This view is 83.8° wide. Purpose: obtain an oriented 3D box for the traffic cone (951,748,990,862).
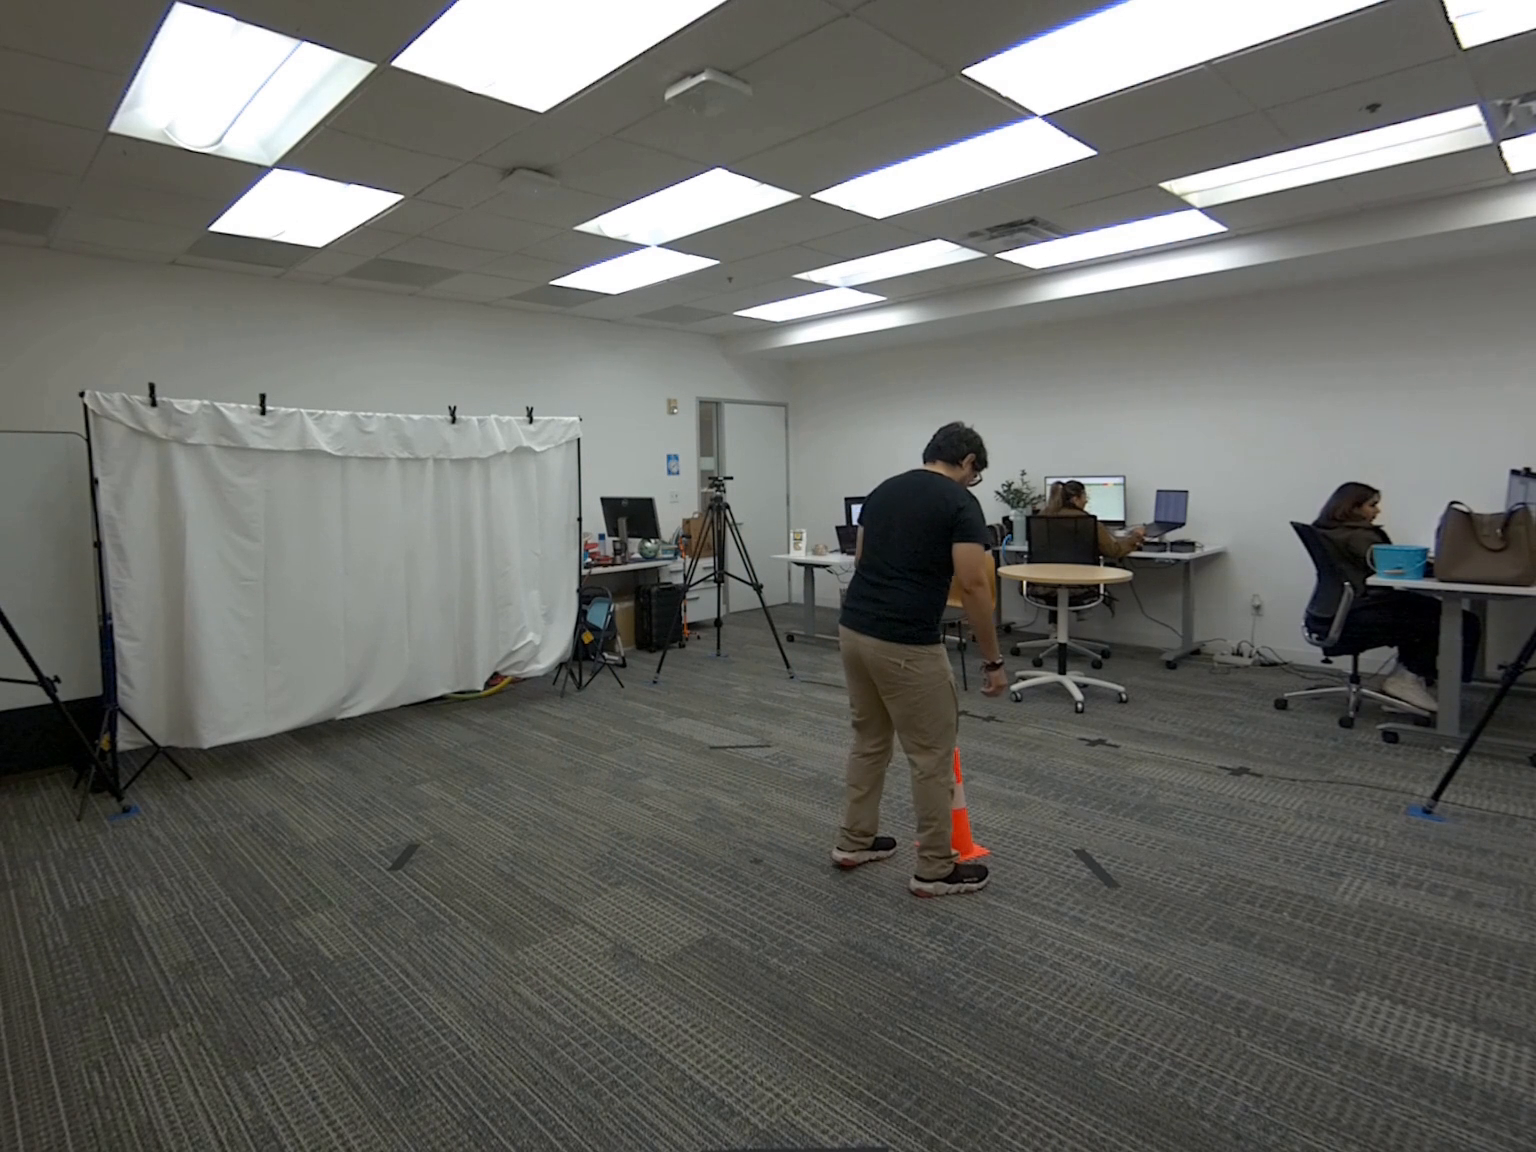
[{"bbox_3d":[0.681,0.828,3.173,0.200,0.383,0.208,-4,2,-29],"label":"traffic cone"}]
